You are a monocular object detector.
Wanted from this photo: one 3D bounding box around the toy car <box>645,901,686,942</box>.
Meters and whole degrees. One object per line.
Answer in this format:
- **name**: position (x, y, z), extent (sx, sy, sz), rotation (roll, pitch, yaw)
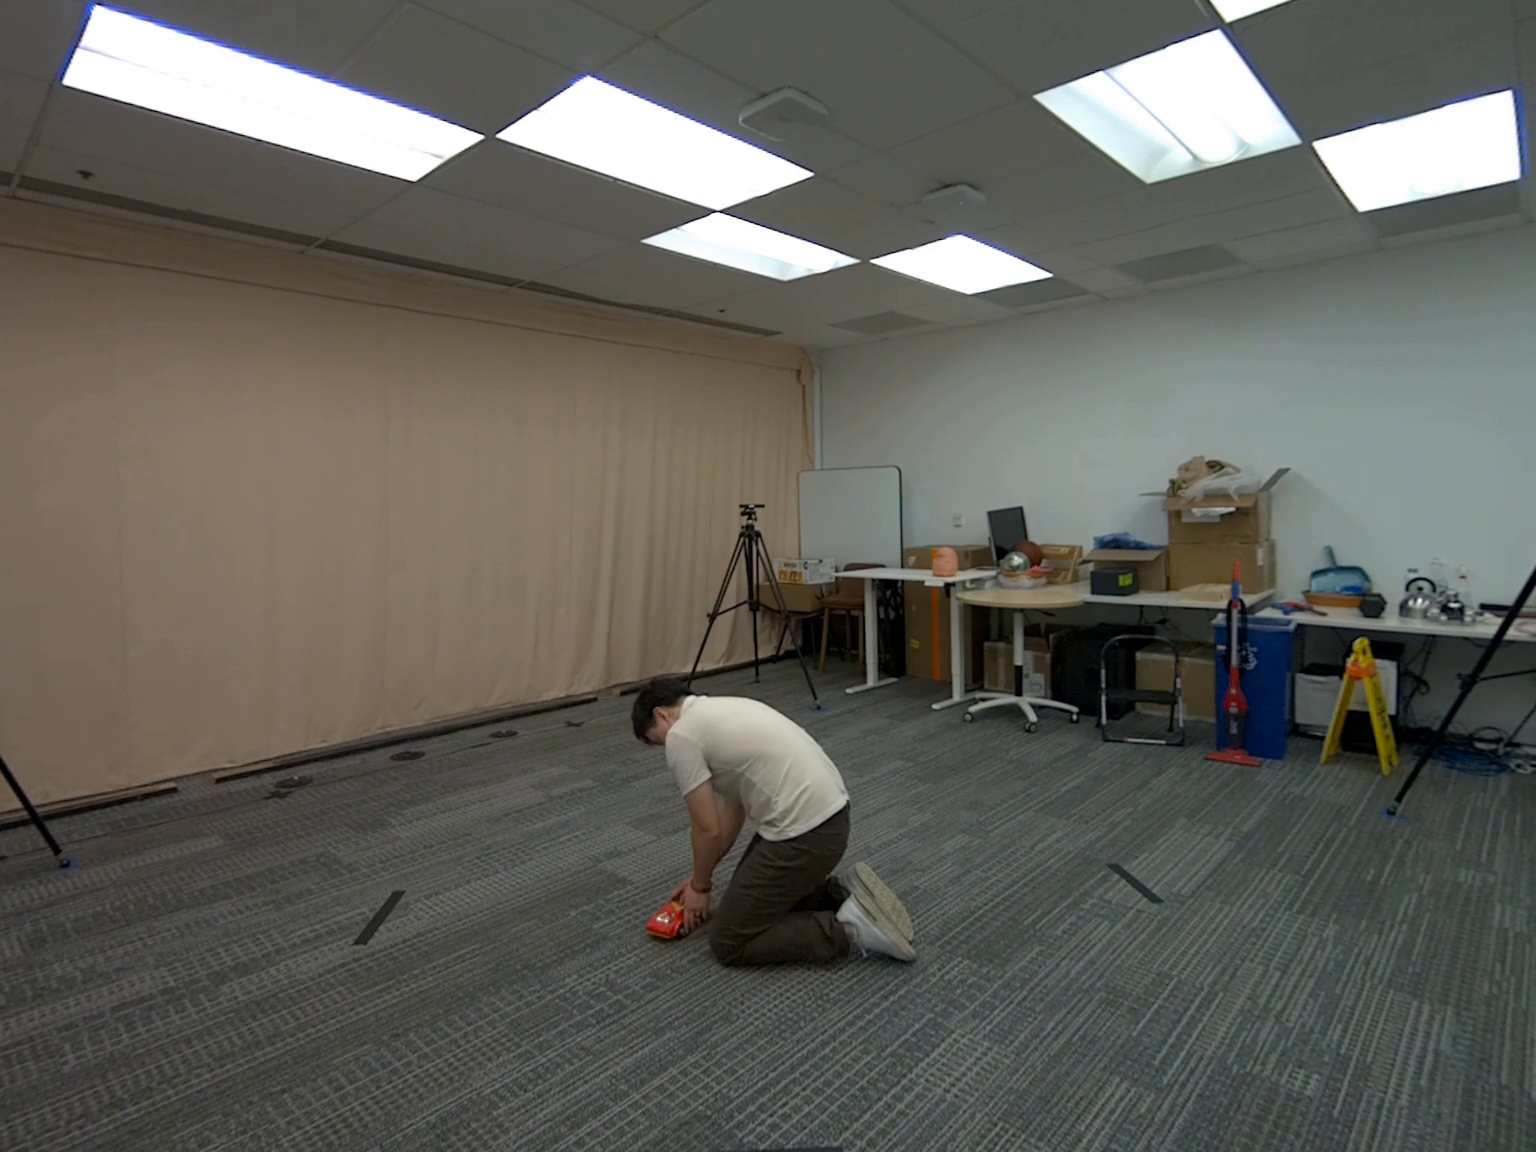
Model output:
- **toy car**: position (-0.303, 1.137, 2.774), extent (0.134, 0.083, 0.246), rotation (0, -8, 31)
